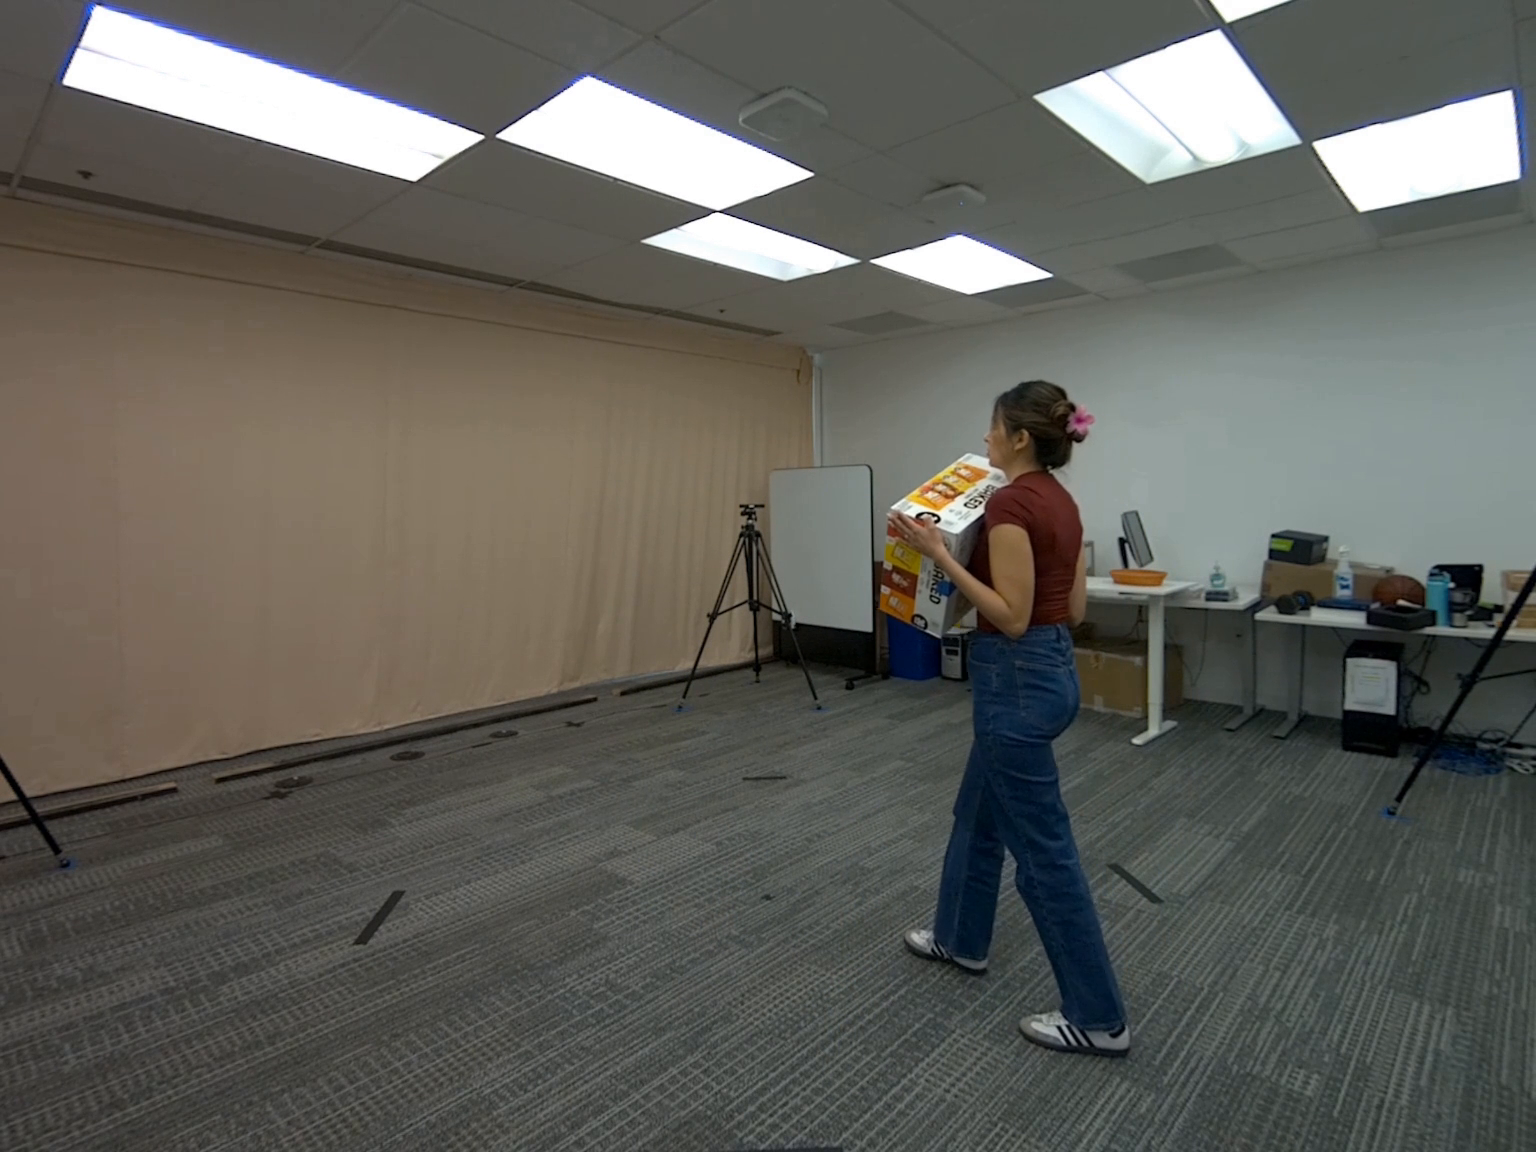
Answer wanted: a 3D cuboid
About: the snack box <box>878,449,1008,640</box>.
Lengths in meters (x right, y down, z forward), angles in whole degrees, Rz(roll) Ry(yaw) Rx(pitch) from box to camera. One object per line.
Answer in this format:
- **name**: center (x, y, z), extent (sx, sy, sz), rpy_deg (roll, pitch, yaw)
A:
- **snack box**: center (0.522, -0.098, 2.368), extent (0.213, 0.334, 0.399), rpy_deg (26, 44, 33)
